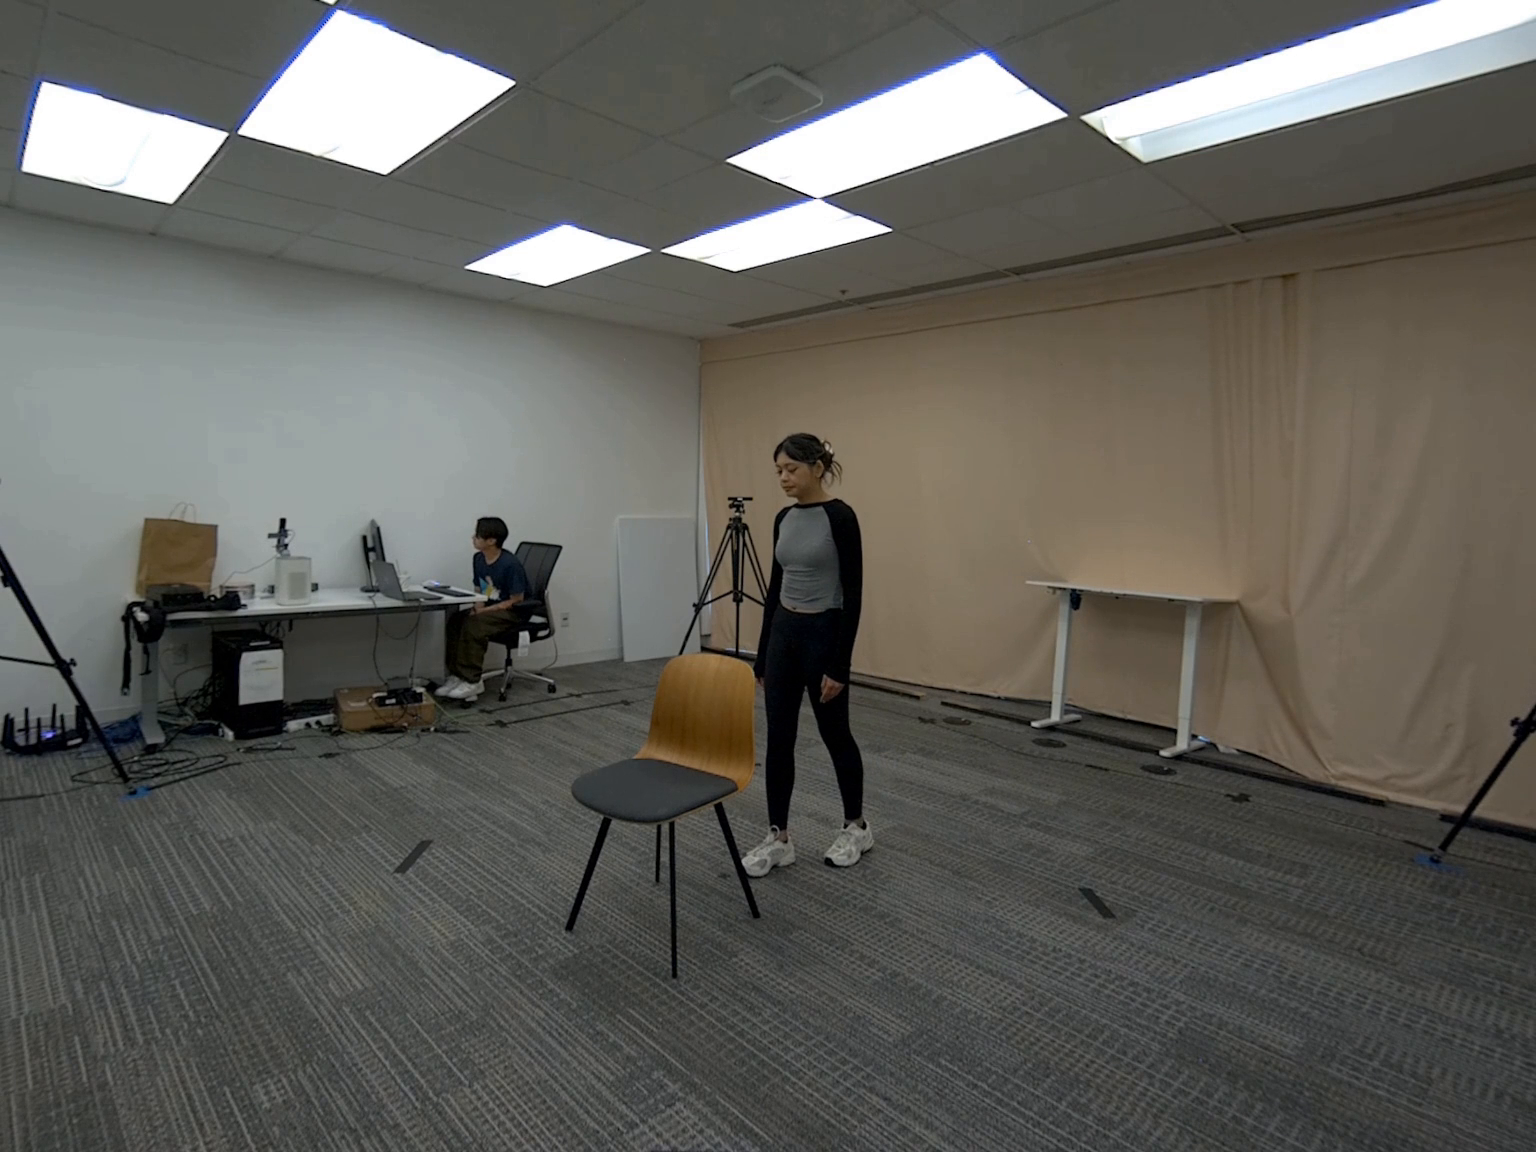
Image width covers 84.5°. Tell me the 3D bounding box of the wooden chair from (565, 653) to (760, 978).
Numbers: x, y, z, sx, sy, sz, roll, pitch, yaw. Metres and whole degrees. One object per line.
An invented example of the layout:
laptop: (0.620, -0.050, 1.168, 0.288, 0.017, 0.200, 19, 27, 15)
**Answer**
wooden chair: (-0.331, 0.712, 2.702, 0.489, 0.877, 0.511, 4, 0, 34)
